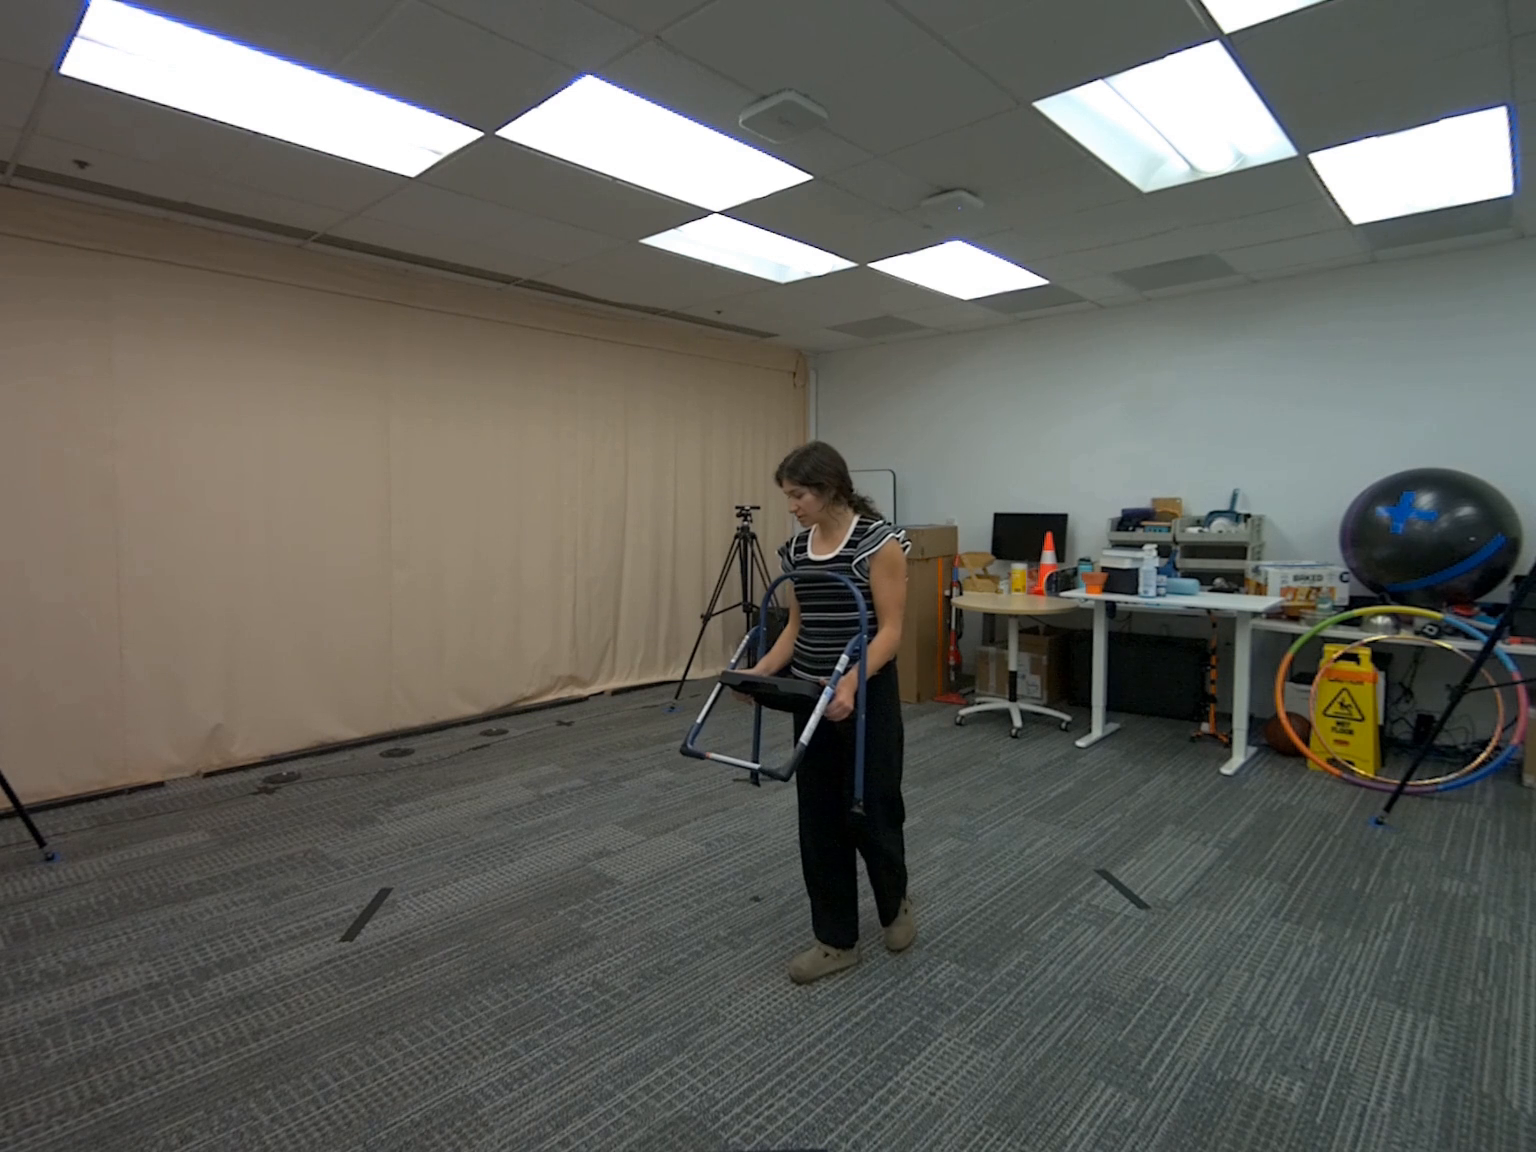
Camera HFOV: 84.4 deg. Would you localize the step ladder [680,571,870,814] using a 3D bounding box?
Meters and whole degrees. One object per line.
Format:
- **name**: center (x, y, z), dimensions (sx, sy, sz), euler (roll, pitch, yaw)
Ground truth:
- **step ladder**: center (0.091, 0.293, 2.411), dimensions (0.444, 0.609, 0.337), euler (-1, -25, 45)
